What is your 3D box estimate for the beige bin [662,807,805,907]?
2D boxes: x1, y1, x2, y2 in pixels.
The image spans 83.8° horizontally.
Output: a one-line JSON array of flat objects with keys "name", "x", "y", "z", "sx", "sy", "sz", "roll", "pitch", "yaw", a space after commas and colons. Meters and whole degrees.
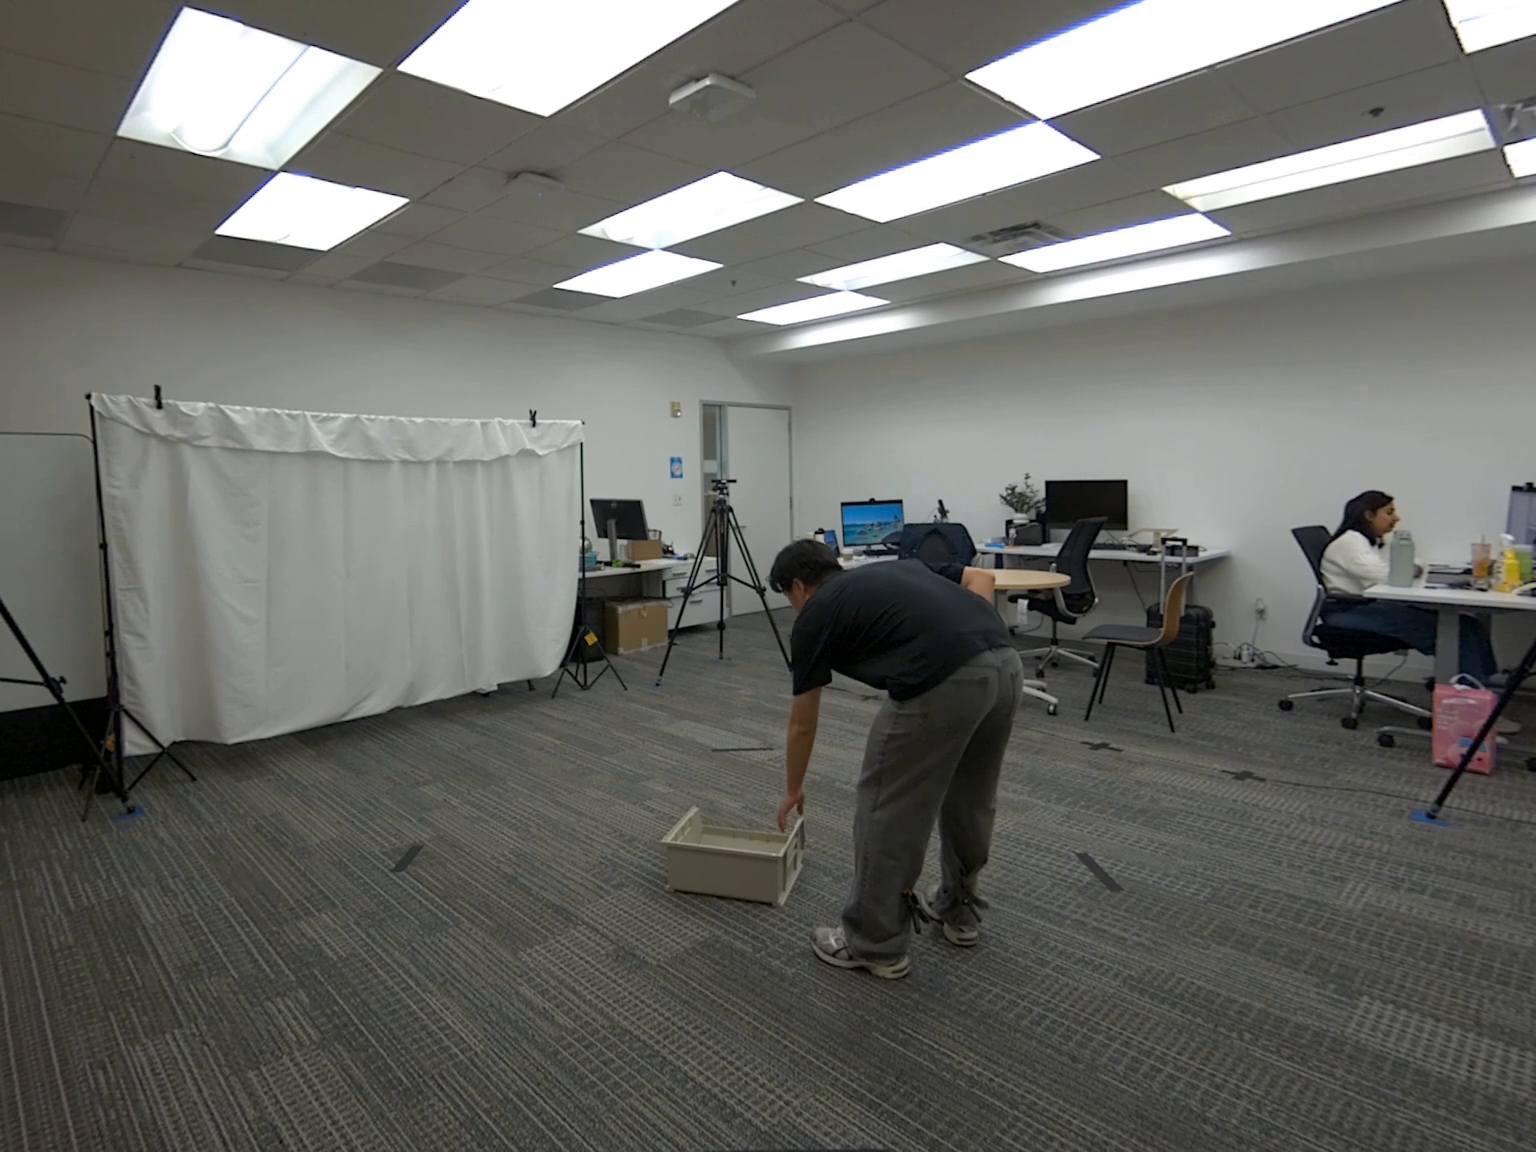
[{"name": "beige bin", "x": -0.109, "y": 0.971, "z": 3.009, "sx": 0.429, "sy": 0.188, "sz": 0.373, "roll": 1, "pitch": 7, "yaw": 16}]
